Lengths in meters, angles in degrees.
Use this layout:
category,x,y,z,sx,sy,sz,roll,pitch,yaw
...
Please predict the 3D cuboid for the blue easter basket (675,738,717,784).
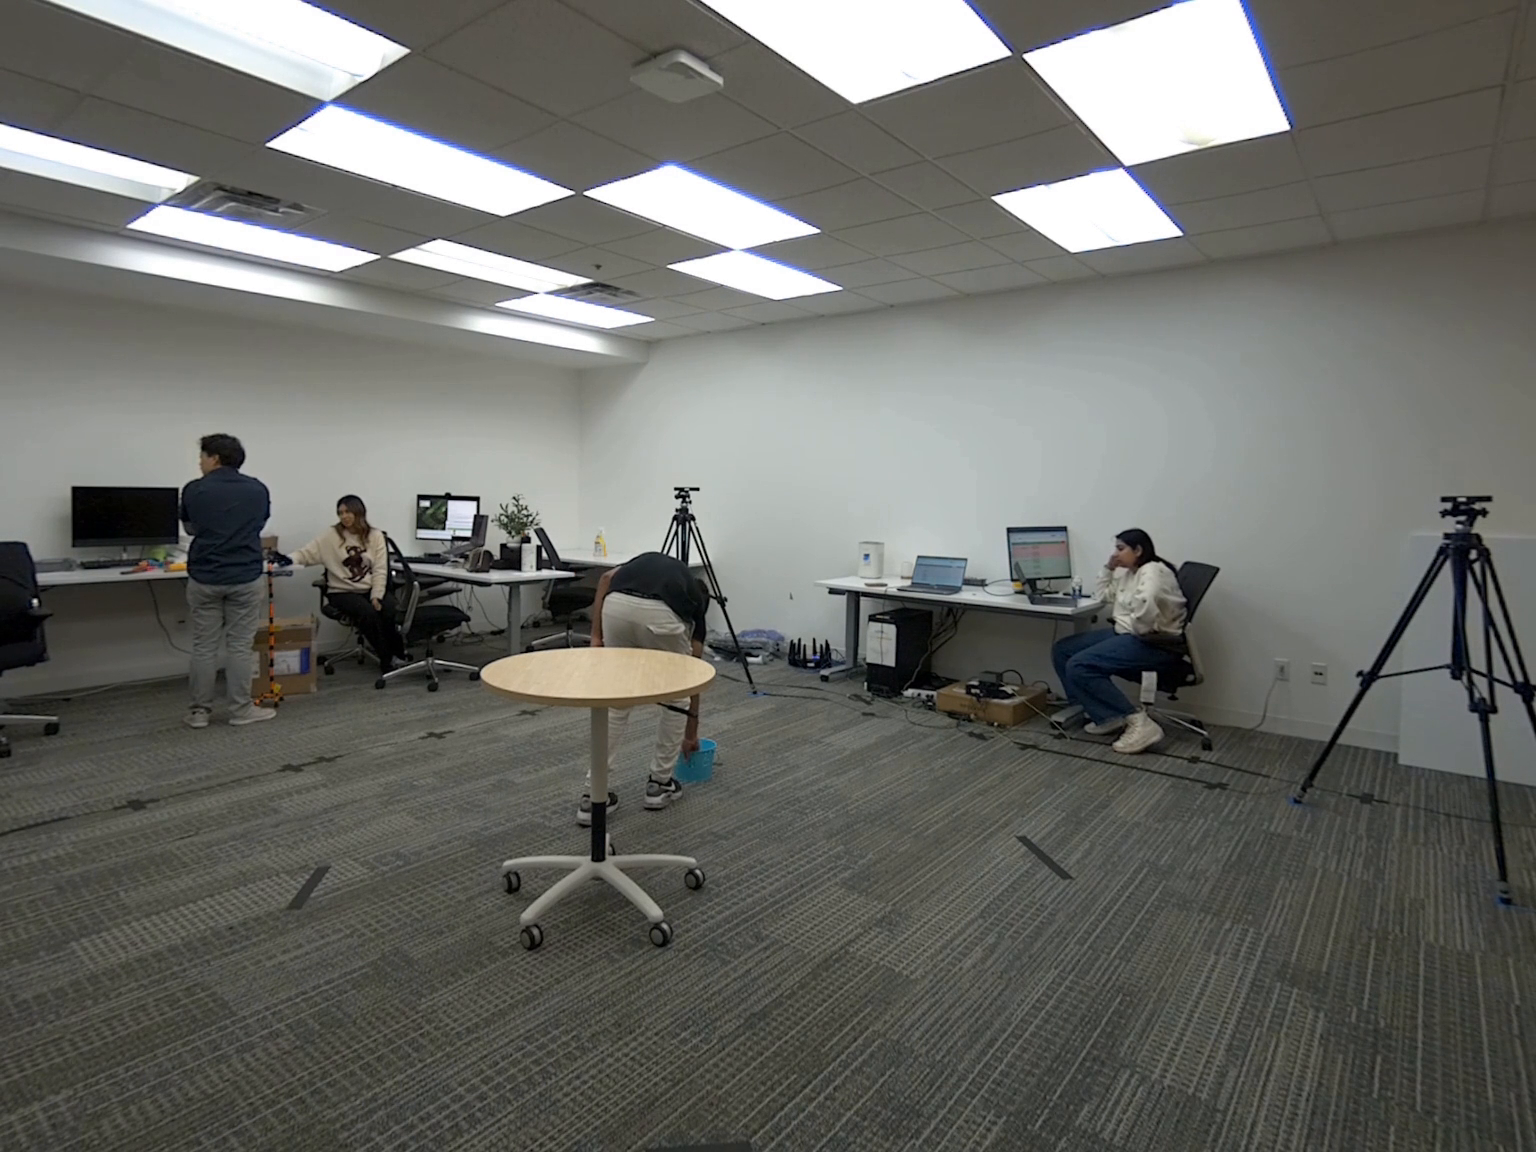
category,x,y,z,sx,sy,sz,roll,pitch,yaw
blue easter basket,-0.368,0.882,4.132,0.243,0.155,0.244,1,3,-2
